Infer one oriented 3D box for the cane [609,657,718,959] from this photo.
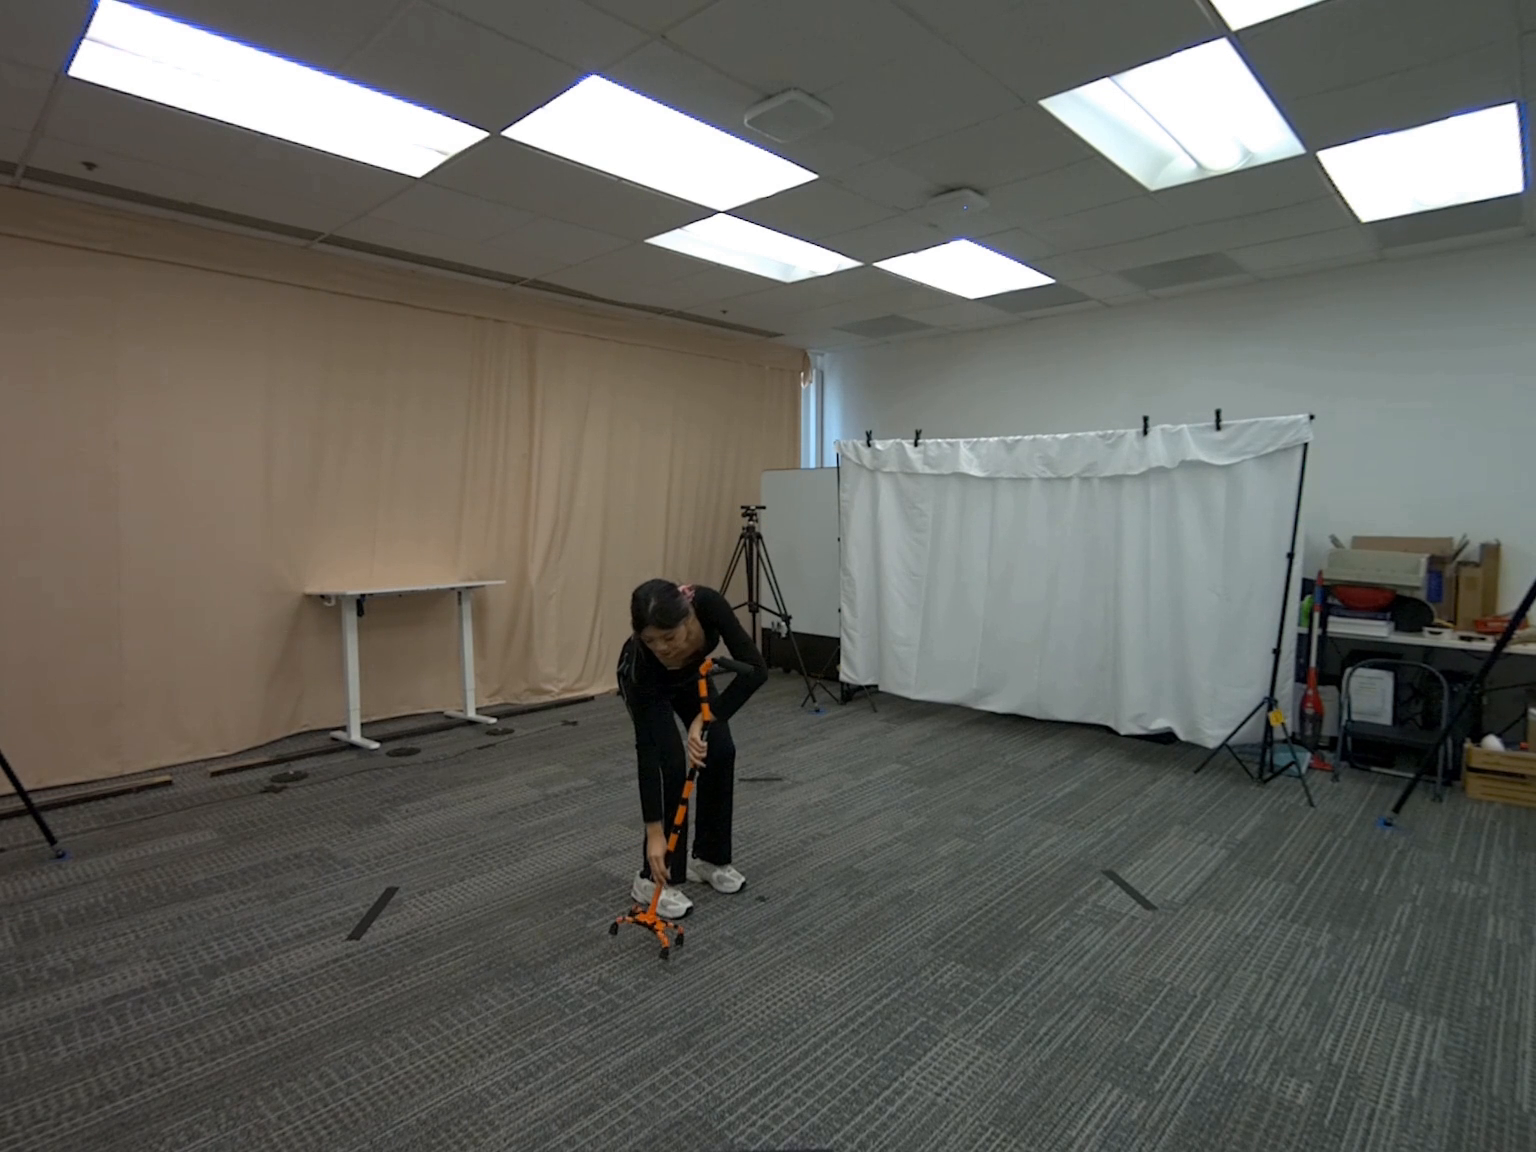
[{"bbox_3d":[-0.258,0.681,2.613,0.211,0.907,0.148,16,1,17],"label":"cane"}]
